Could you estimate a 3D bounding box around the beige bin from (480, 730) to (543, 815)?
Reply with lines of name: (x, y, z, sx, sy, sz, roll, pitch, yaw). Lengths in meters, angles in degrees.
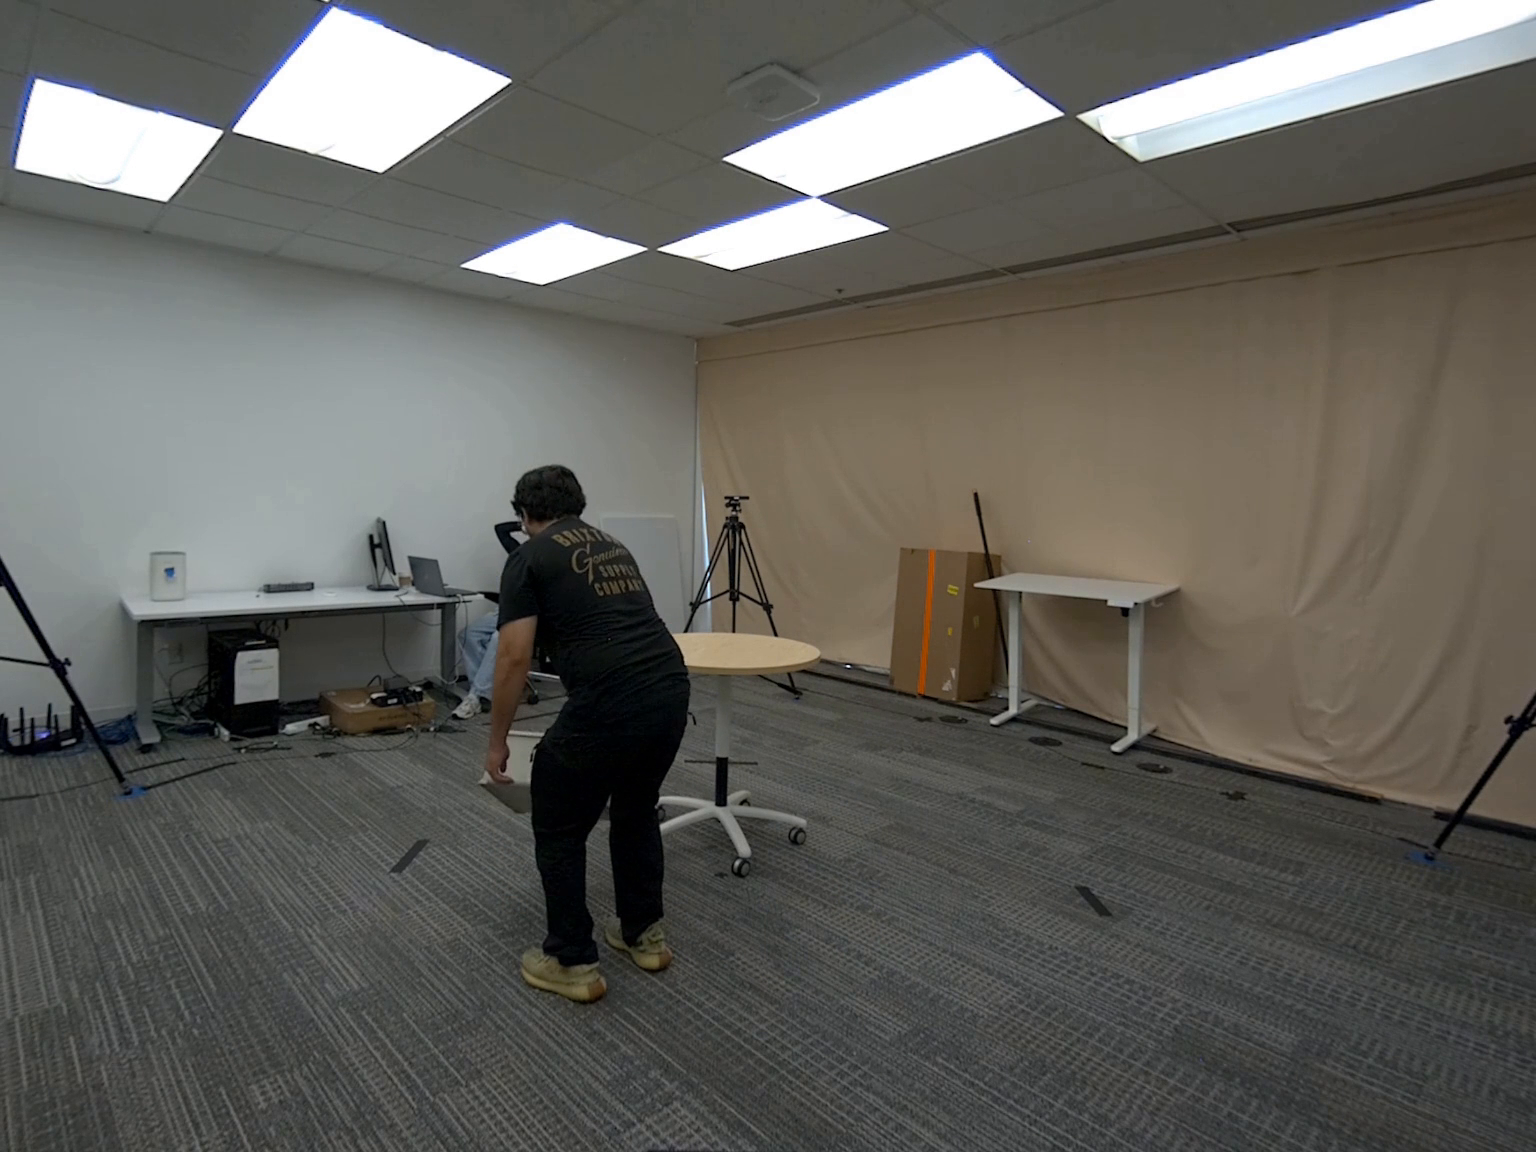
beige bin: (-0.704, 0.698, 2.842, 0.427, 0.192, 0.367, 2, -32, 14)
